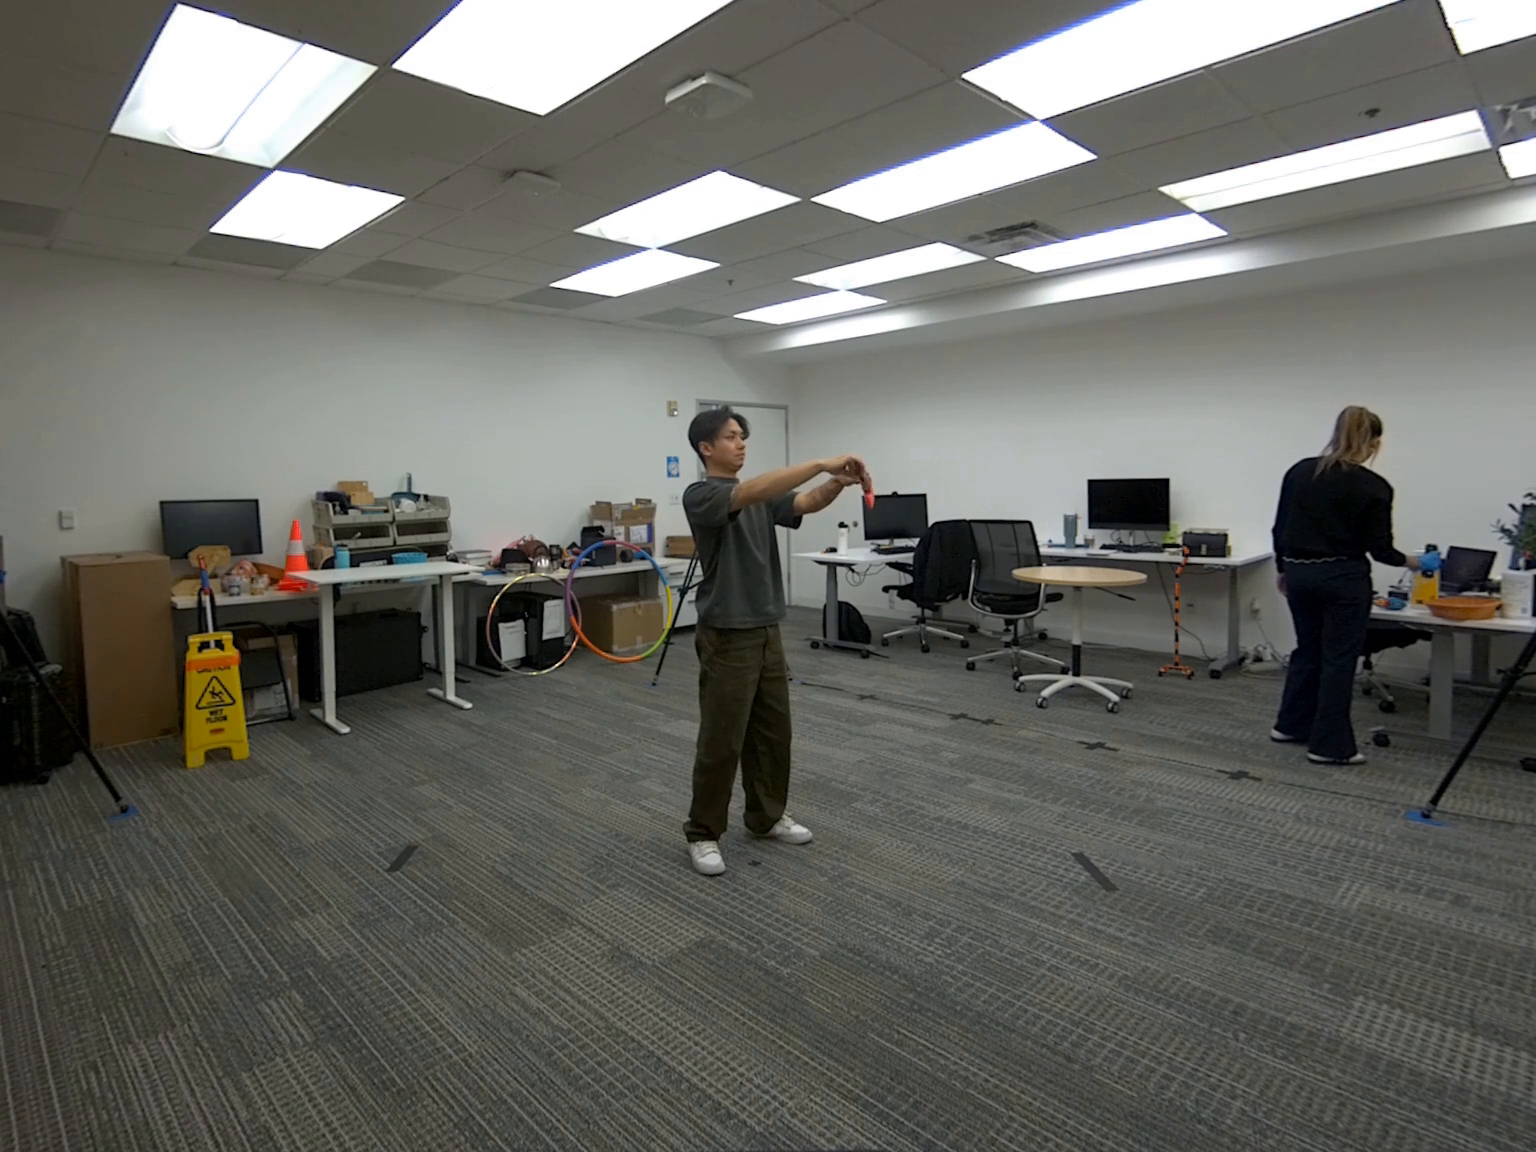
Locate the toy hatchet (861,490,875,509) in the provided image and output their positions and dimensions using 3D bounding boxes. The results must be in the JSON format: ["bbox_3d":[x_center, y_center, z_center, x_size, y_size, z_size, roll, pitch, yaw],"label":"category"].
[{"bbox_3d":[0.318,-0.299,2.853,0.030,0.132,0.263,-12,-8,19],"label":"toy hatchet"}]
